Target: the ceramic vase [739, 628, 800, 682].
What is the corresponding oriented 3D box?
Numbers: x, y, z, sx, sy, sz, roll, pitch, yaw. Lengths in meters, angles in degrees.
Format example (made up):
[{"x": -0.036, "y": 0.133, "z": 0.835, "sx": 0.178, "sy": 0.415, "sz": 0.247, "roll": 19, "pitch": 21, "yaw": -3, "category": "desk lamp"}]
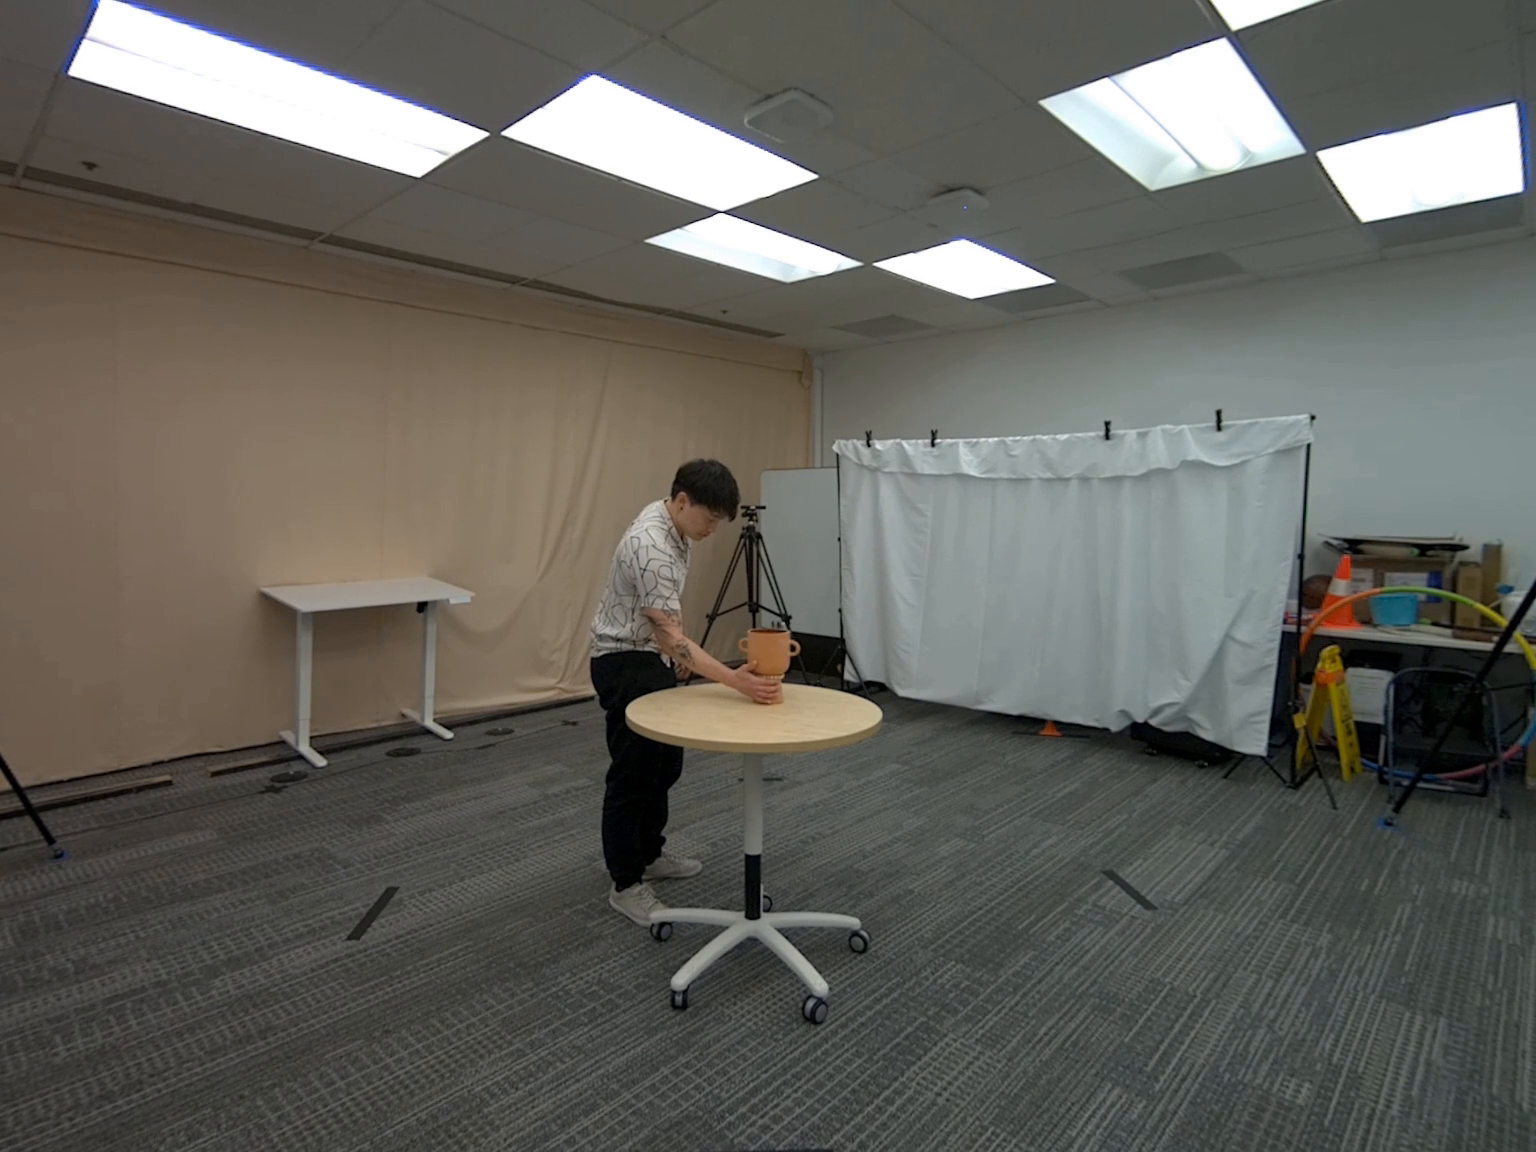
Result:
[{"x": 0.009, "y": 0.284, "z": 2.623, "sx": 0.131, "sy": 0.219, "sz": 0.163, "roll": -1, "pitch": 4, "yaw": -31, "category": "ceramic vase"}]
